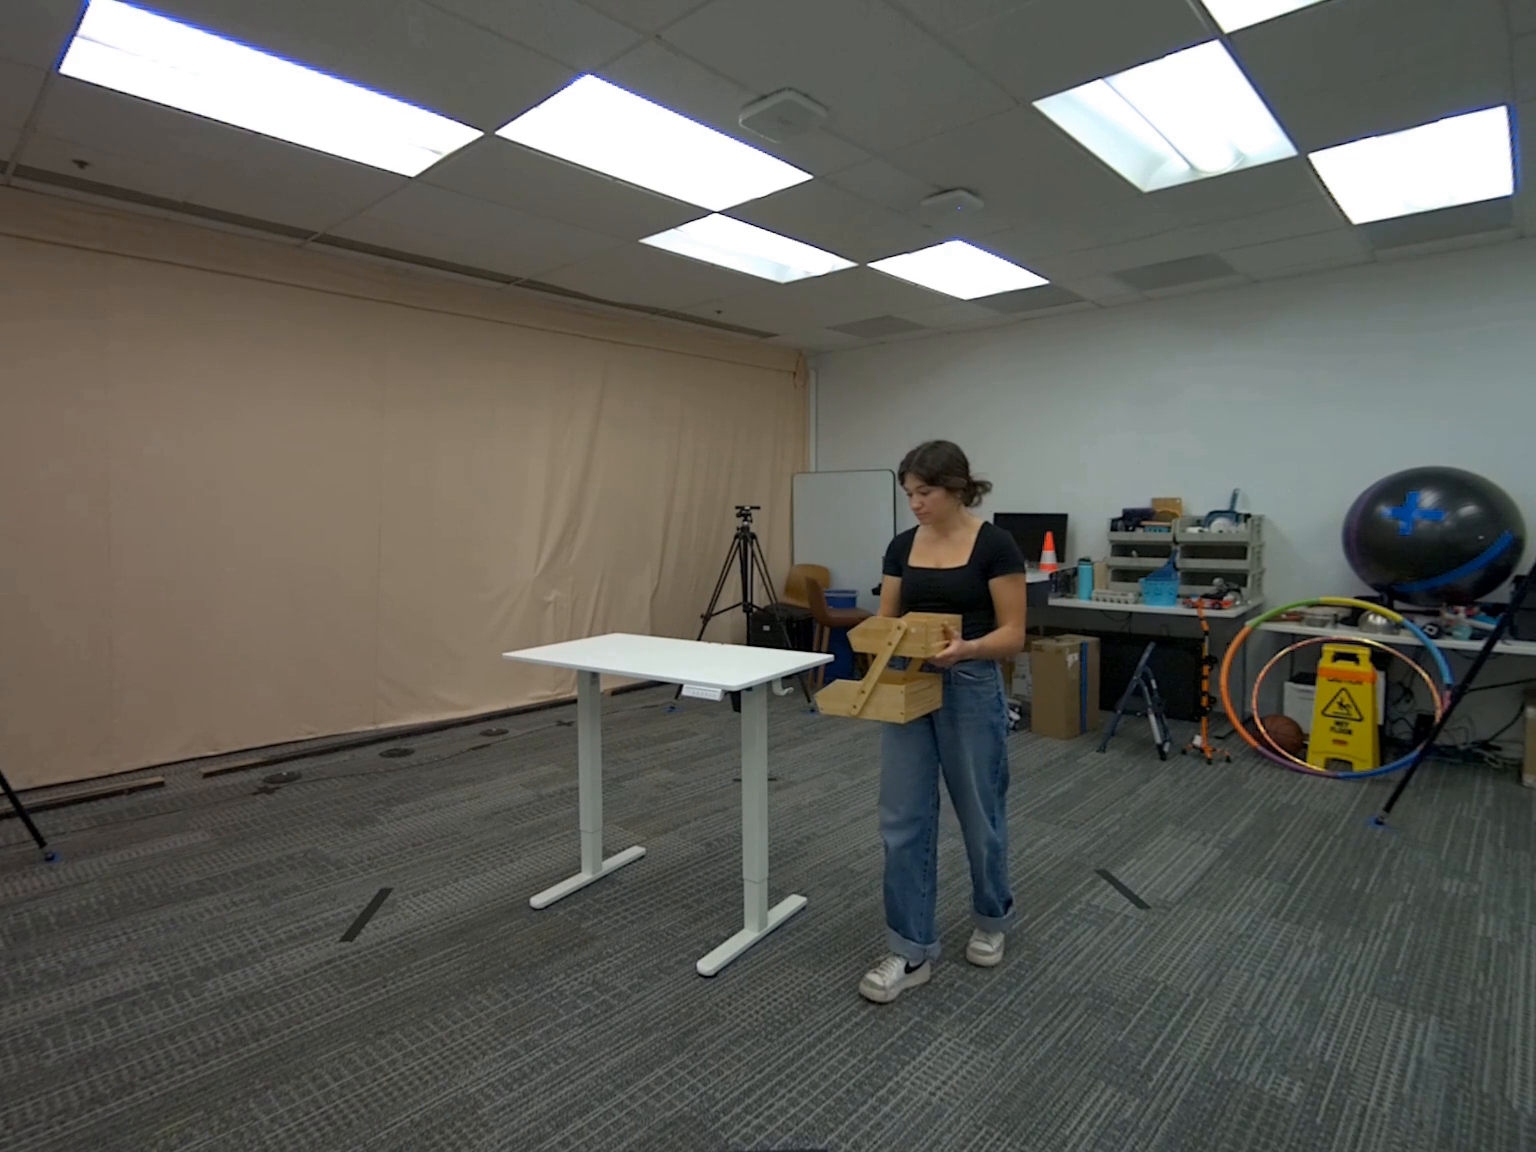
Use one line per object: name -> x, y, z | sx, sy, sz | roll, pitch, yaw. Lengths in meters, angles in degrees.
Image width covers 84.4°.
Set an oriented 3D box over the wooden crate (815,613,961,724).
wooden crate -> 0.323, 0.232, 2.274 | 0.311, 0.273, 0.315 | 3, 1, 32
